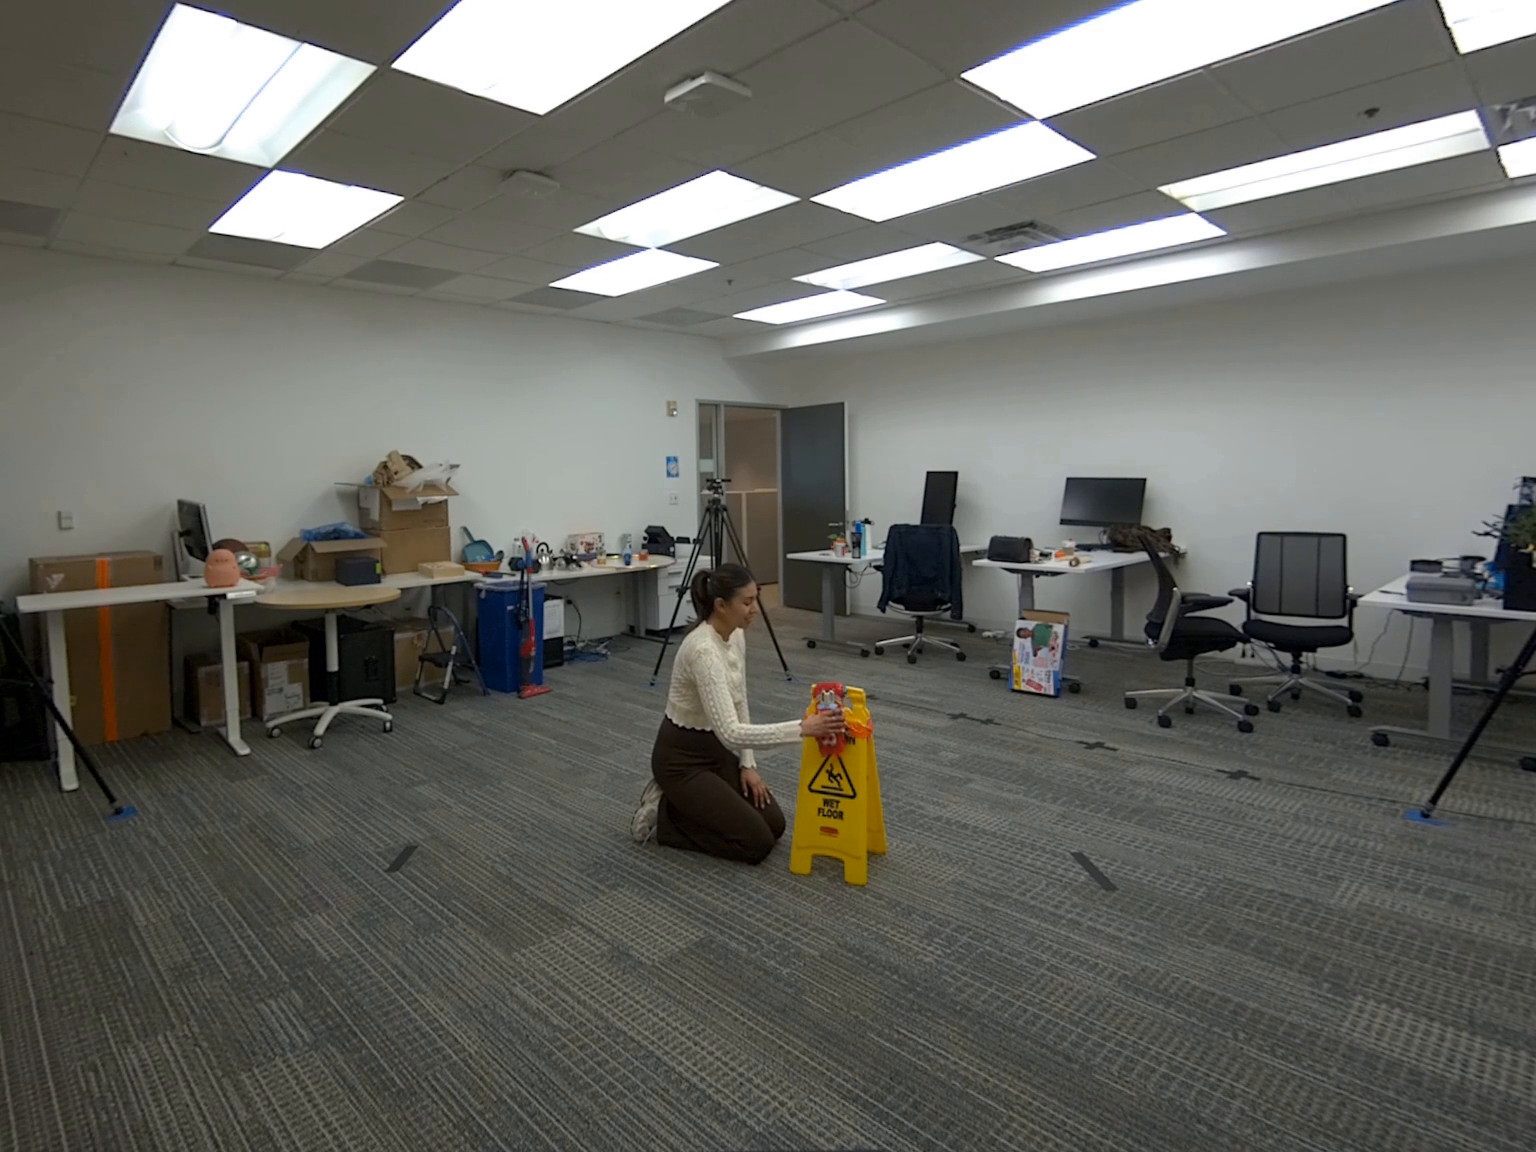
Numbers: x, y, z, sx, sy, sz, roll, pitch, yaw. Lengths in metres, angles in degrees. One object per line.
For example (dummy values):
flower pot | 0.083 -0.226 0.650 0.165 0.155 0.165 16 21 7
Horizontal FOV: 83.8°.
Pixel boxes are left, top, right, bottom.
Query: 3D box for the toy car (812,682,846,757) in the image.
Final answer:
toy car | 0.212 0.510 3.017 0.133 0.258 0.080 -5 -17 24
